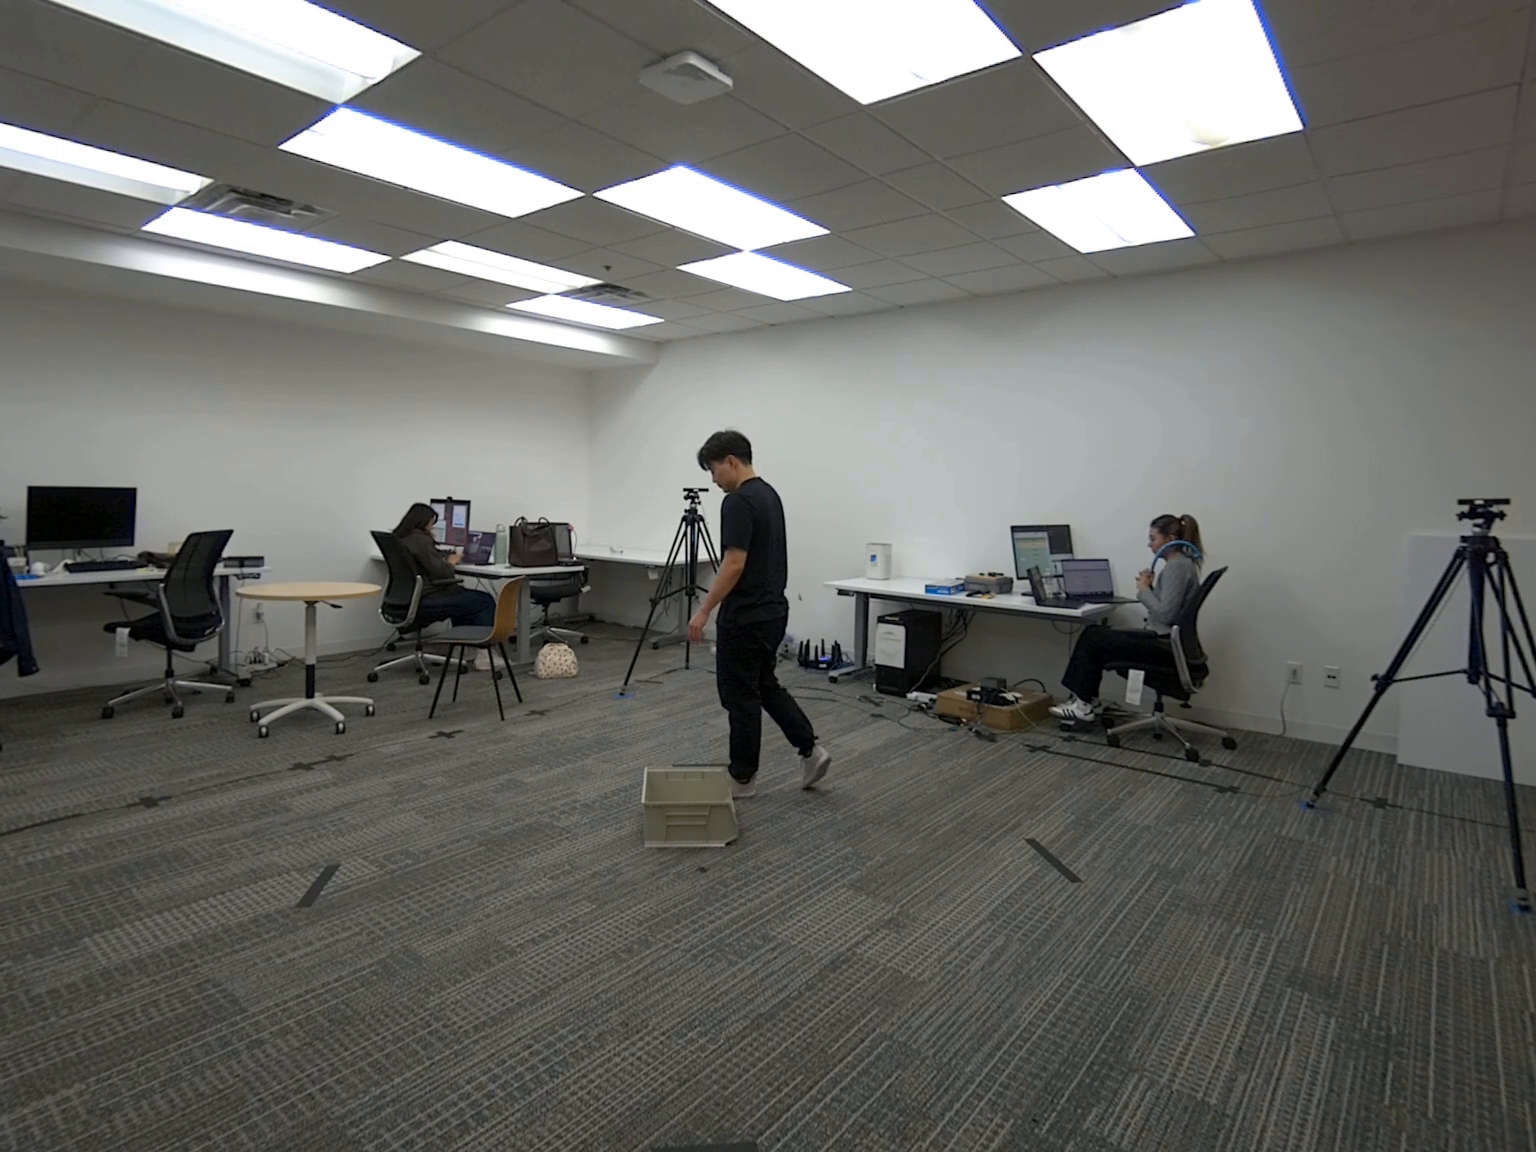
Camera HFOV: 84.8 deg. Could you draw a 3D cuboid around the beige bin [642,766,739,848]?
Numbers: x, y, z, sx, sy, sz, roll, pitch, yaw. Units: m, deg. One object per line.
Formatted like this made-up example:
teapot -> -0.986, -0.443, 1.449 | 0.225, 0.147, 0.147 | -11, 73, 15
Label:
beige bin -> -0.338, 0.944, 3.502 | 0.375, 0.188, 0.426 | 0, 6, -5
